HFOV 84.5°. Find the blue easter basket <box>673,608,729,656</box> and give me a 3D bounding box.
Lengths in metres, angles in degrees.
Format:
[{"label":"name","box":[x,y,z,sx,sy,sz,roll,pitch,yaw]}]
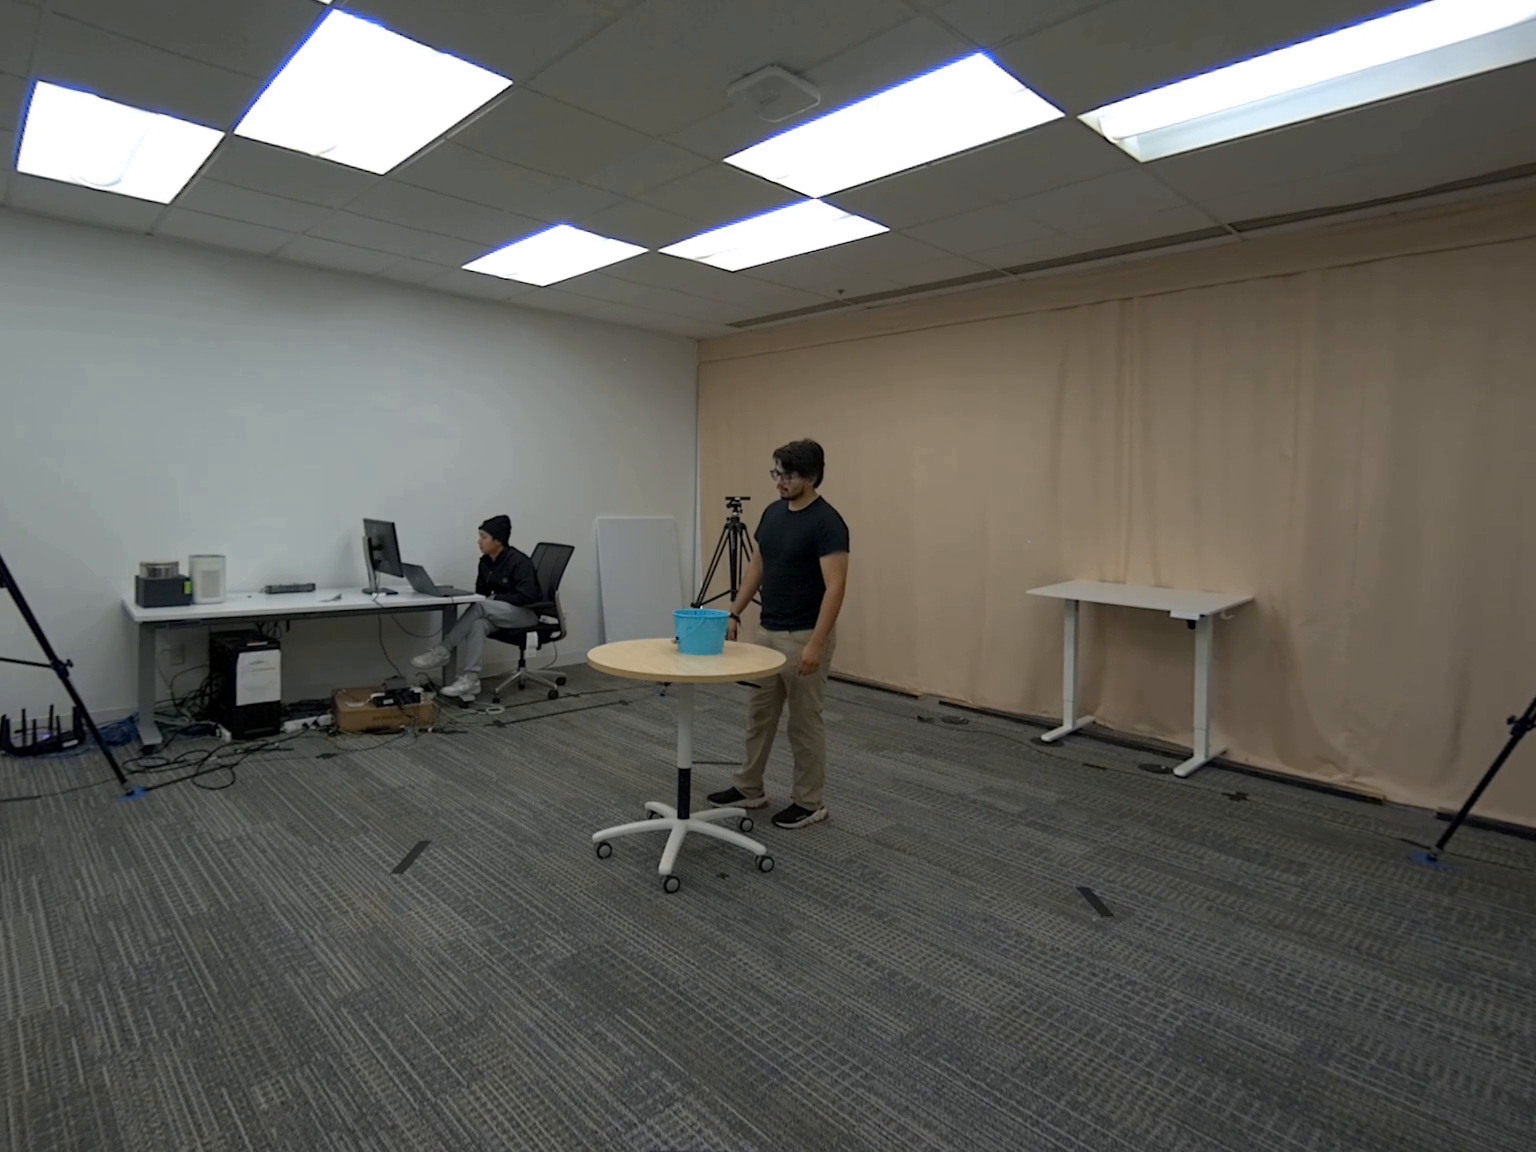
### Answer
[{"label":"blue easter basket","box":[-0.279,0.223,3.350,0.243,0.155,0.244,2,4,-1]}]
